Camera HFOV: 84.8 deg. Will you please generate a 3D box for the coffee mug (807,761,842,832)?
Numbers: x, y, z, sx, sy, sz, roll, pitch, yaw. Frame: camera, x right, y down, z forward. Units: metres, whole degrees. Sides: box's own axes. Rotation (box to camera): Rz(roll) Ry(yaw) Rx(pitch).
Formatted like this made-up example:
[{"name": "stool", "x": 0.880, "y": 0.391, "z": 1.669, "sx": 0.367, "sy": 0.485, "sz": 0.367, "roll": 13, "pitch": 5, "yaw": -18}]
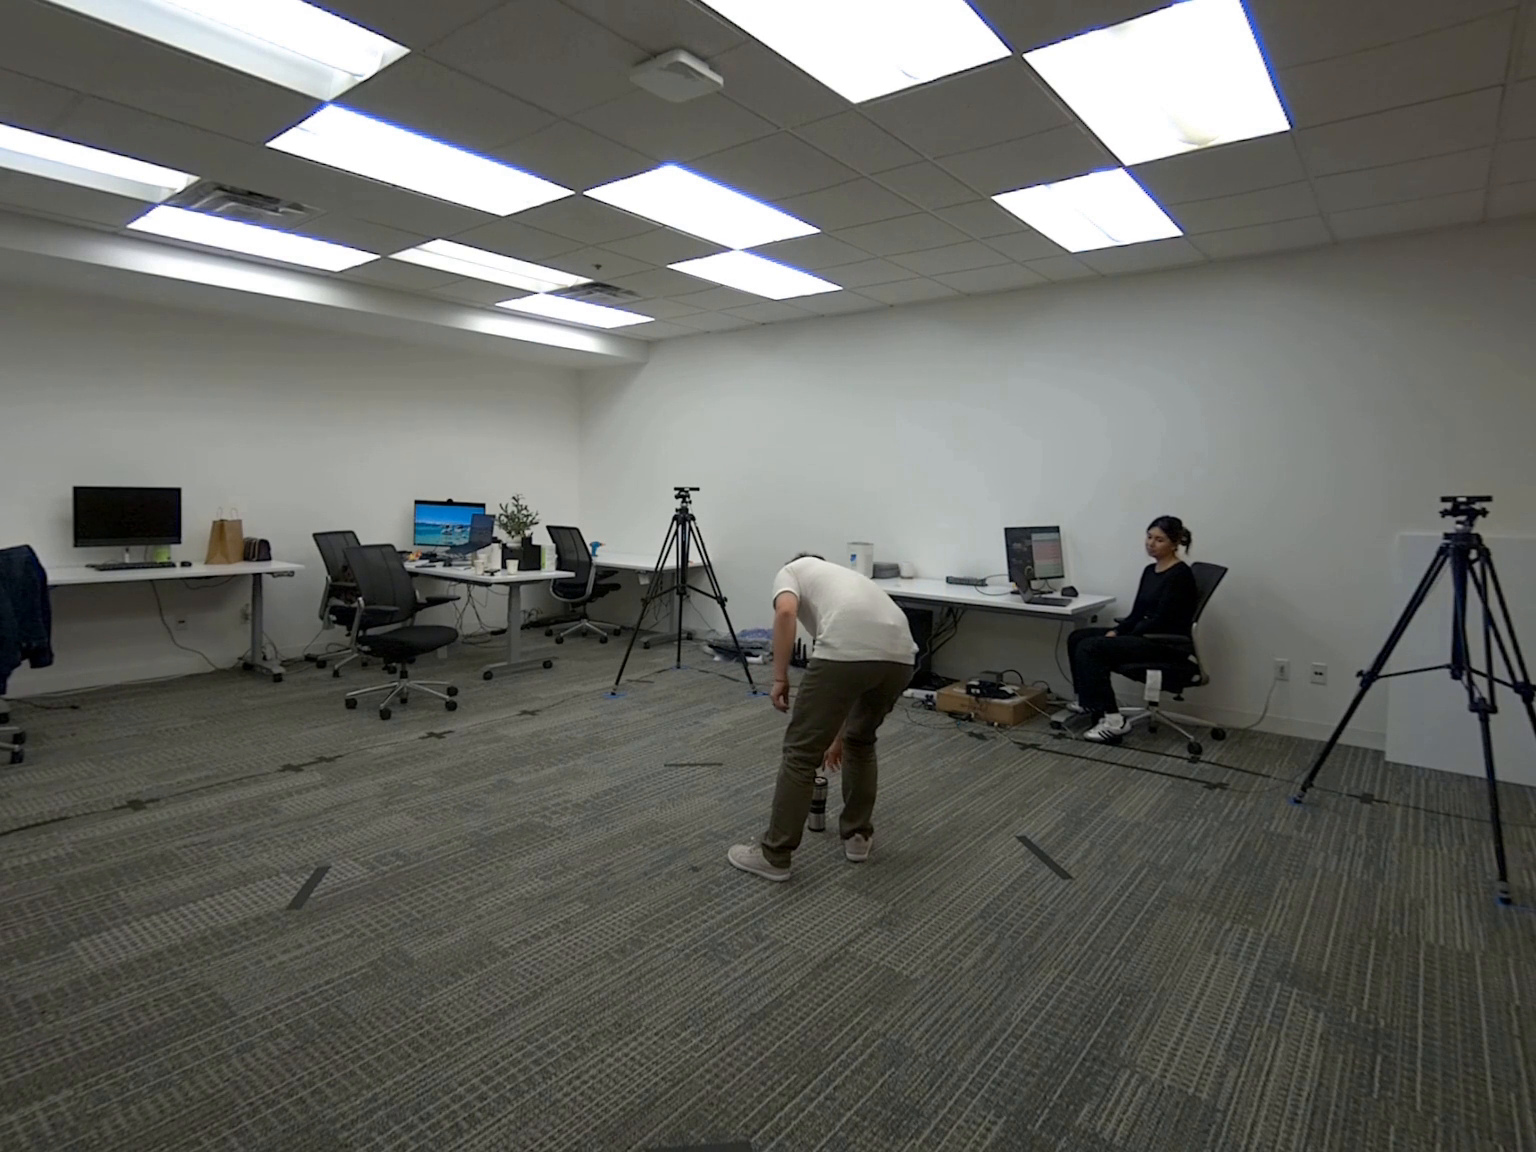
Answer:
[{"name": "coffee mug", "x": 0.208, "y": 0.935, "z": 3.515, "sx": 0.090, "sy": 0.202, "sz": 0.119, "roll": 0, "pitch": 6, "yaw": 27}]
